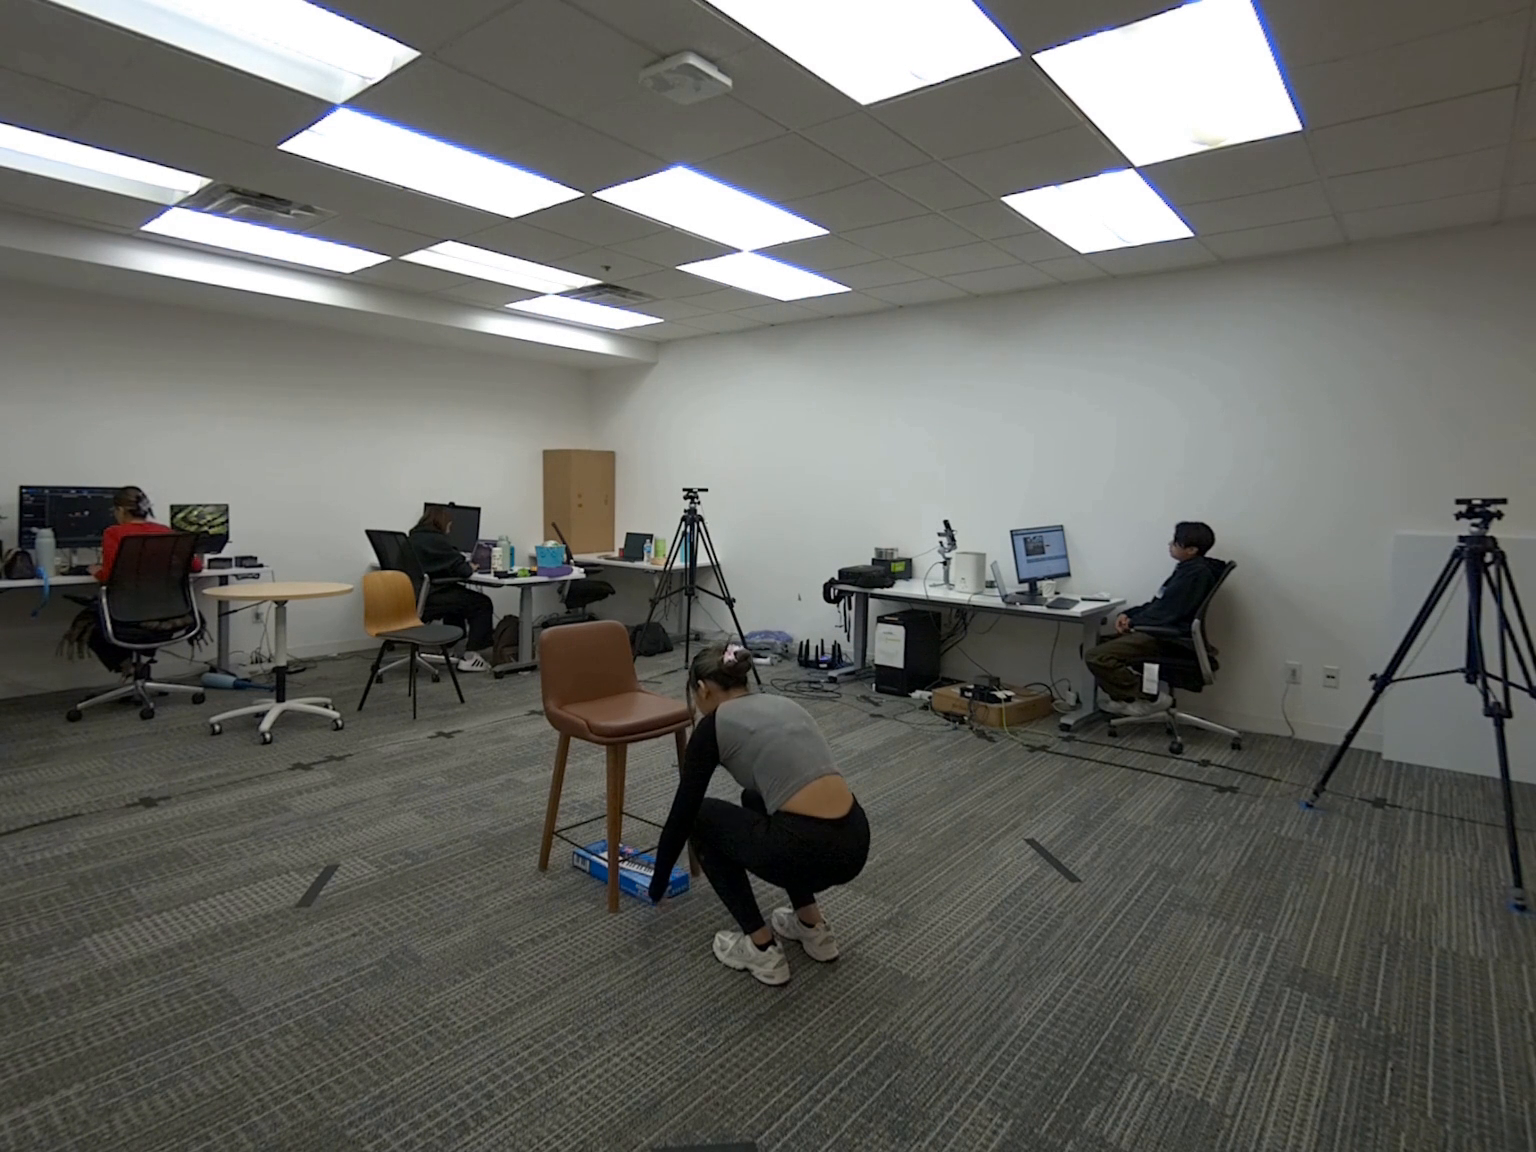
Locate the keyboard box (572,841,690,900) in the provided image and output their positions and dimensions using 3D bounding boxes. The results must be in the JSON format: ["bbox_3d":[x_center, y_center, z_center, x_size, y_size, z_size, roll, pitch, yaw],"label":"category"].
[{"bbox_3d":[-0.507,1.045,3.027,0.452,0.059,0.171,5,7,41],"label":"keyboard box"}]
